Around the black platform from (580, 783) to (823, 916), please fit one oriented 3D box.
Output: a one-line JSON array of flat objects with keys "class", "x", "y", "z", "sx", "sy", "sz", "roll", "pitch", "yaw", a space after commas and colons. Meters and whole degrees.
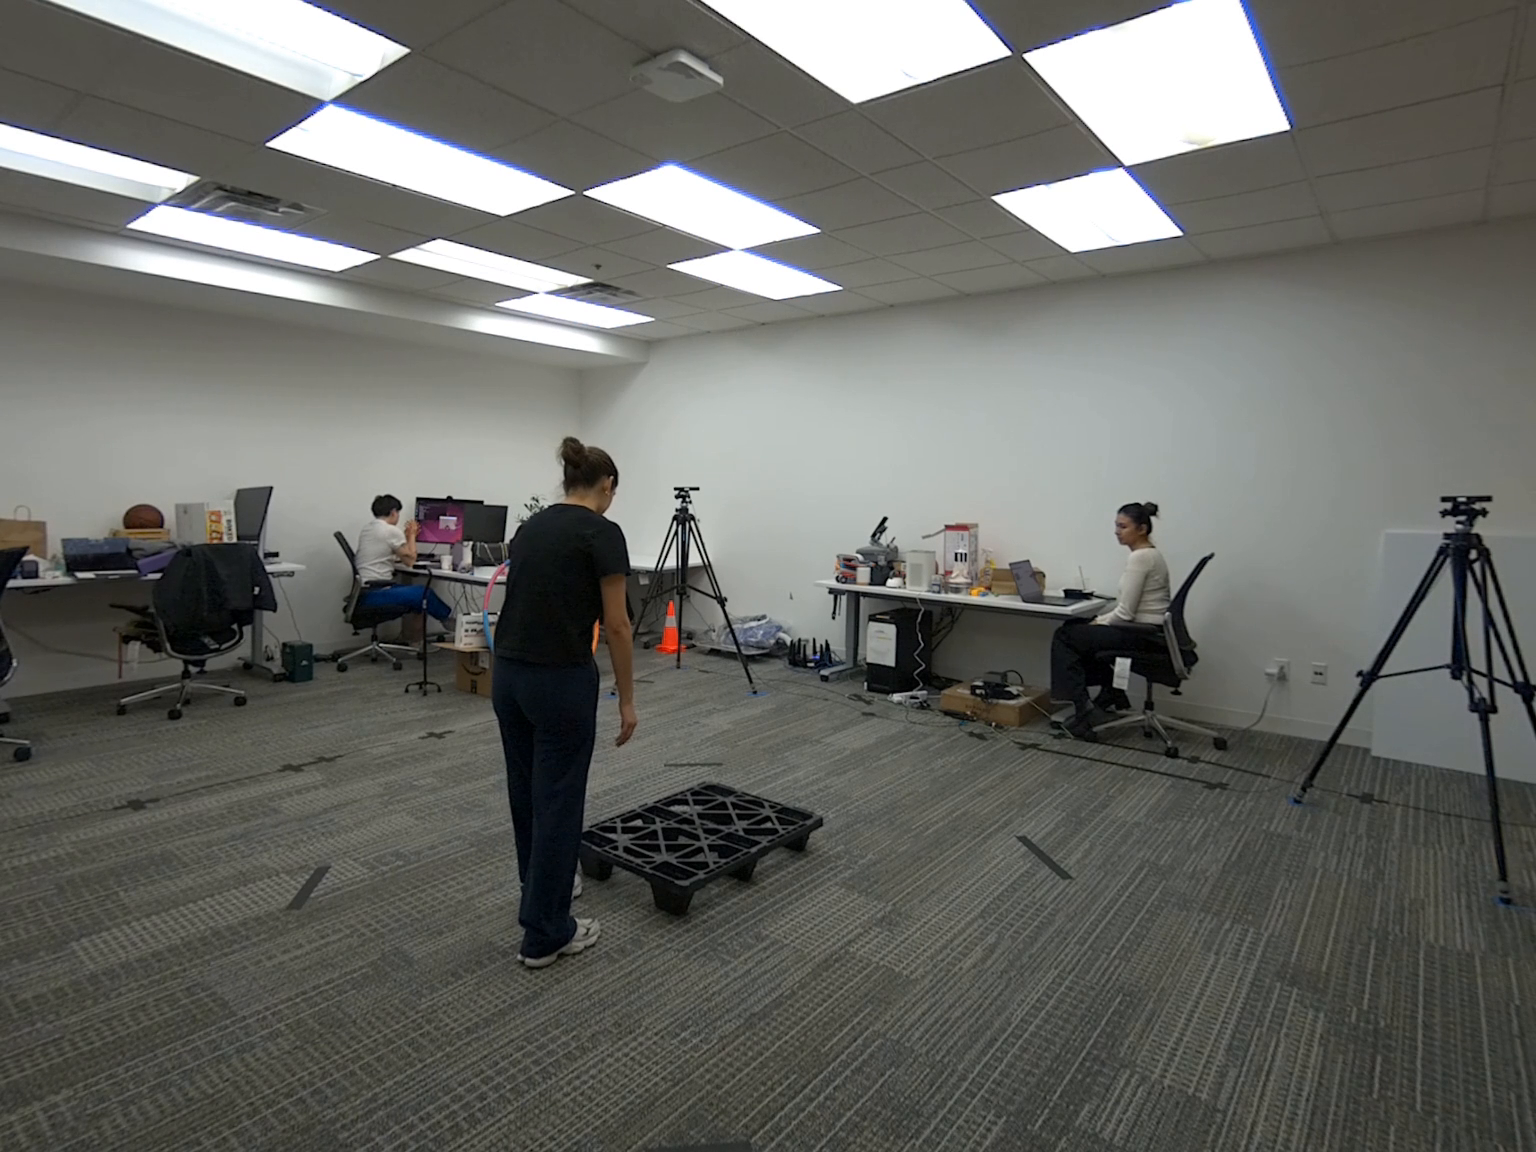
[{"class": "black platform", "x": -0.247, "y": 0.993, "z": 3.187, "sx": 0.625, "sy": 0.143, "sz": 0.782, "roll": 4, "pitch": 6, "yaw": 39}]
